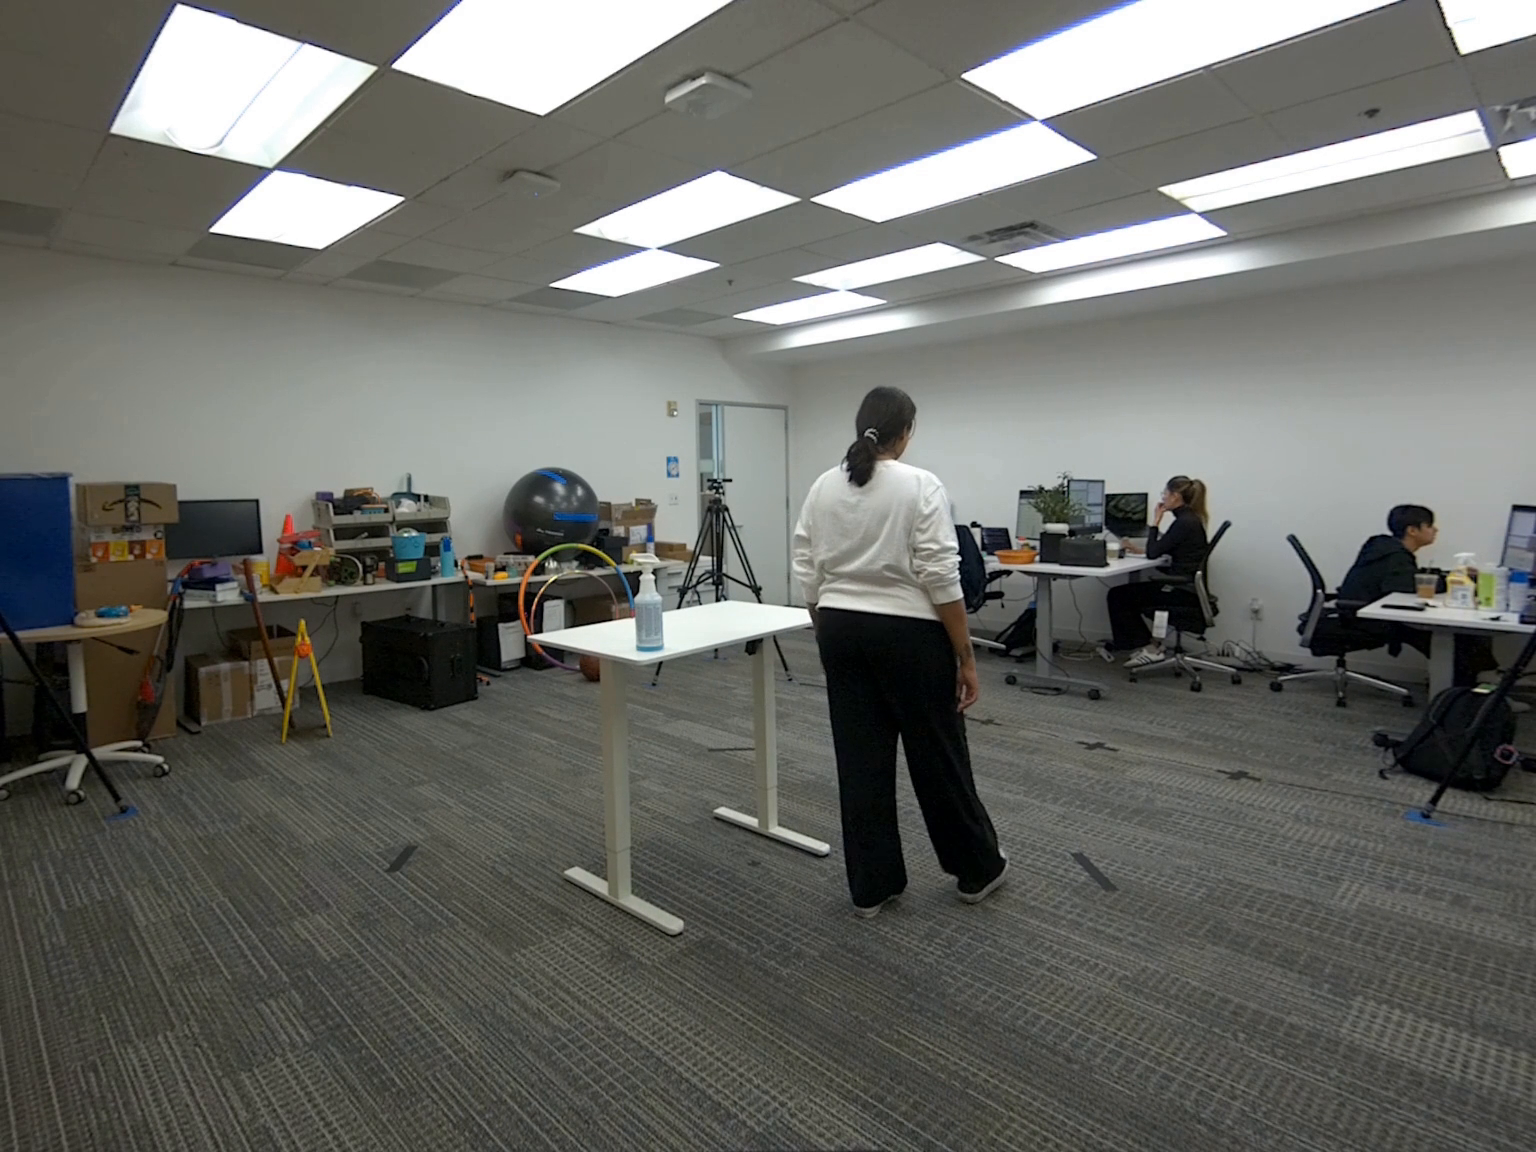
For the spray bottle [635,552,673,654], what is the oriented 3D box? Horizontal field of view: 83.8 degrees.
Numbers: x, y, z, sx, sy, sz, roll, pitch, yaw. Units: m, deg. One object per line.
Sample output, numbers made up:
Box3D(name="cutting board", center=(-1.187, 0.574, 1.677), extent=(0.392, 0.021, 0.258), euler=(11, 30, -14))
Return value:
Box3D(name="spray bottle", center=(-0.349, 0.079, 2.623), extent=(0.091, 0.296, 0.086), euler=(0, 3, 12))
